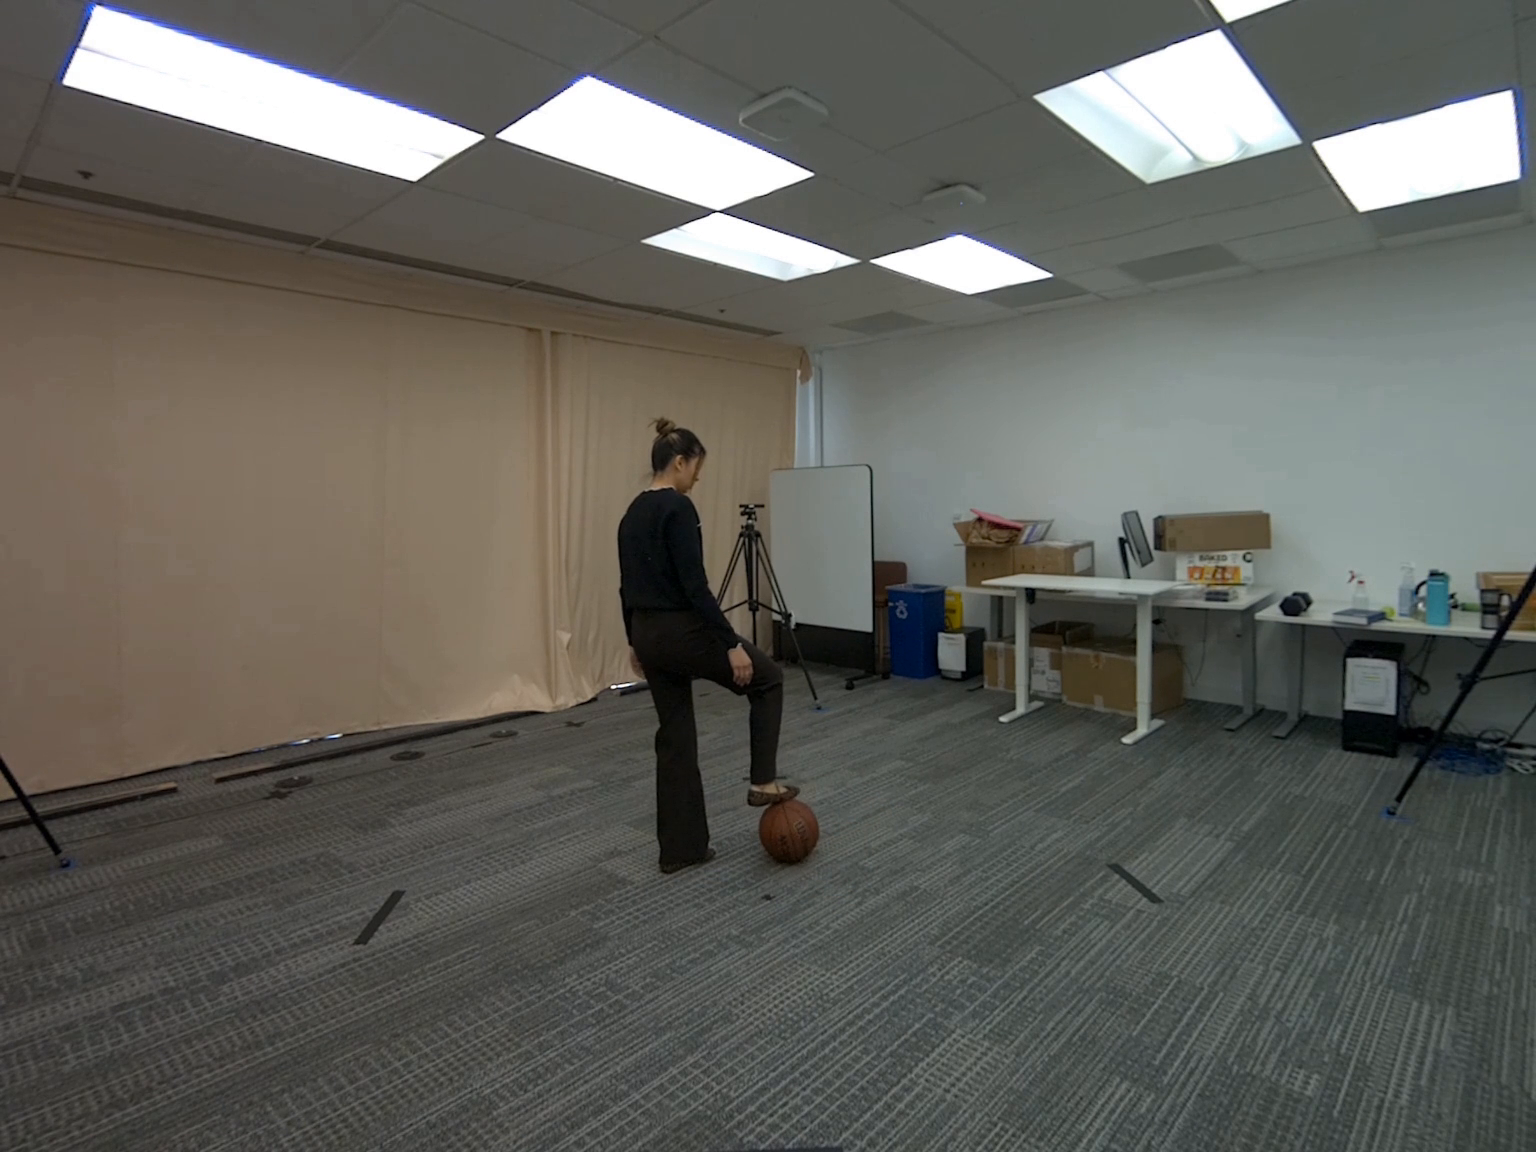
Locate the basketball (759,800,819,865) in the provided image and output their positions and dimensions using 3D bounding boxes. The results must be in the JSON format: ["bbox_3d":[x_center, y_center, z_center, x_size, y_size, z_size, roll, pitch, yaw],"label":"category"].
[{"bbox_3d":[0.091,0.992,3.298,0.236,0.235,0.237,-1,4,-2],"label":"basketball"}]
